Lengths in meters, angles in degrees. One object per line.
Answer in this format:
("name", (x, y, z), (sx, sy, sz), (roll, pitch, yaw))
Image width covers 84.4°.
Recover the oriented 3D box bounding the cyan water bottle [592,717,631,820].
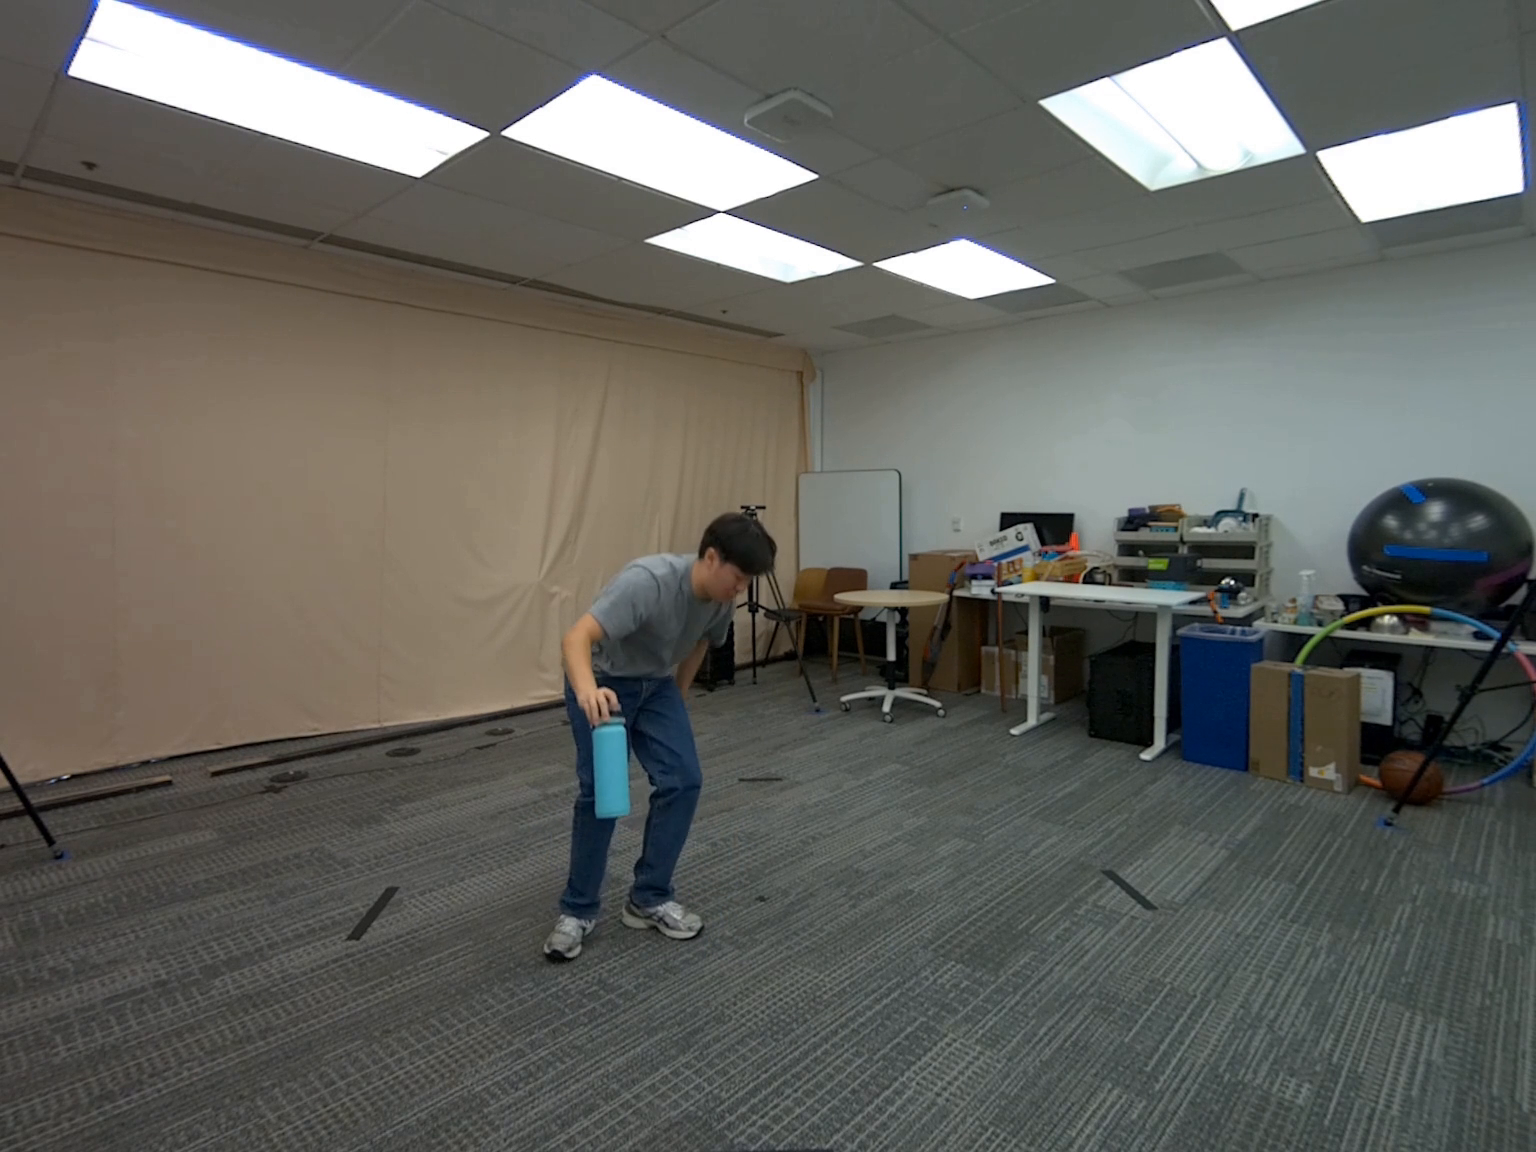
("cyan water bottle", (-0.405, 0.493, 2.224), (0.092, 0.286, 0.092), (-8, -12, -3))
